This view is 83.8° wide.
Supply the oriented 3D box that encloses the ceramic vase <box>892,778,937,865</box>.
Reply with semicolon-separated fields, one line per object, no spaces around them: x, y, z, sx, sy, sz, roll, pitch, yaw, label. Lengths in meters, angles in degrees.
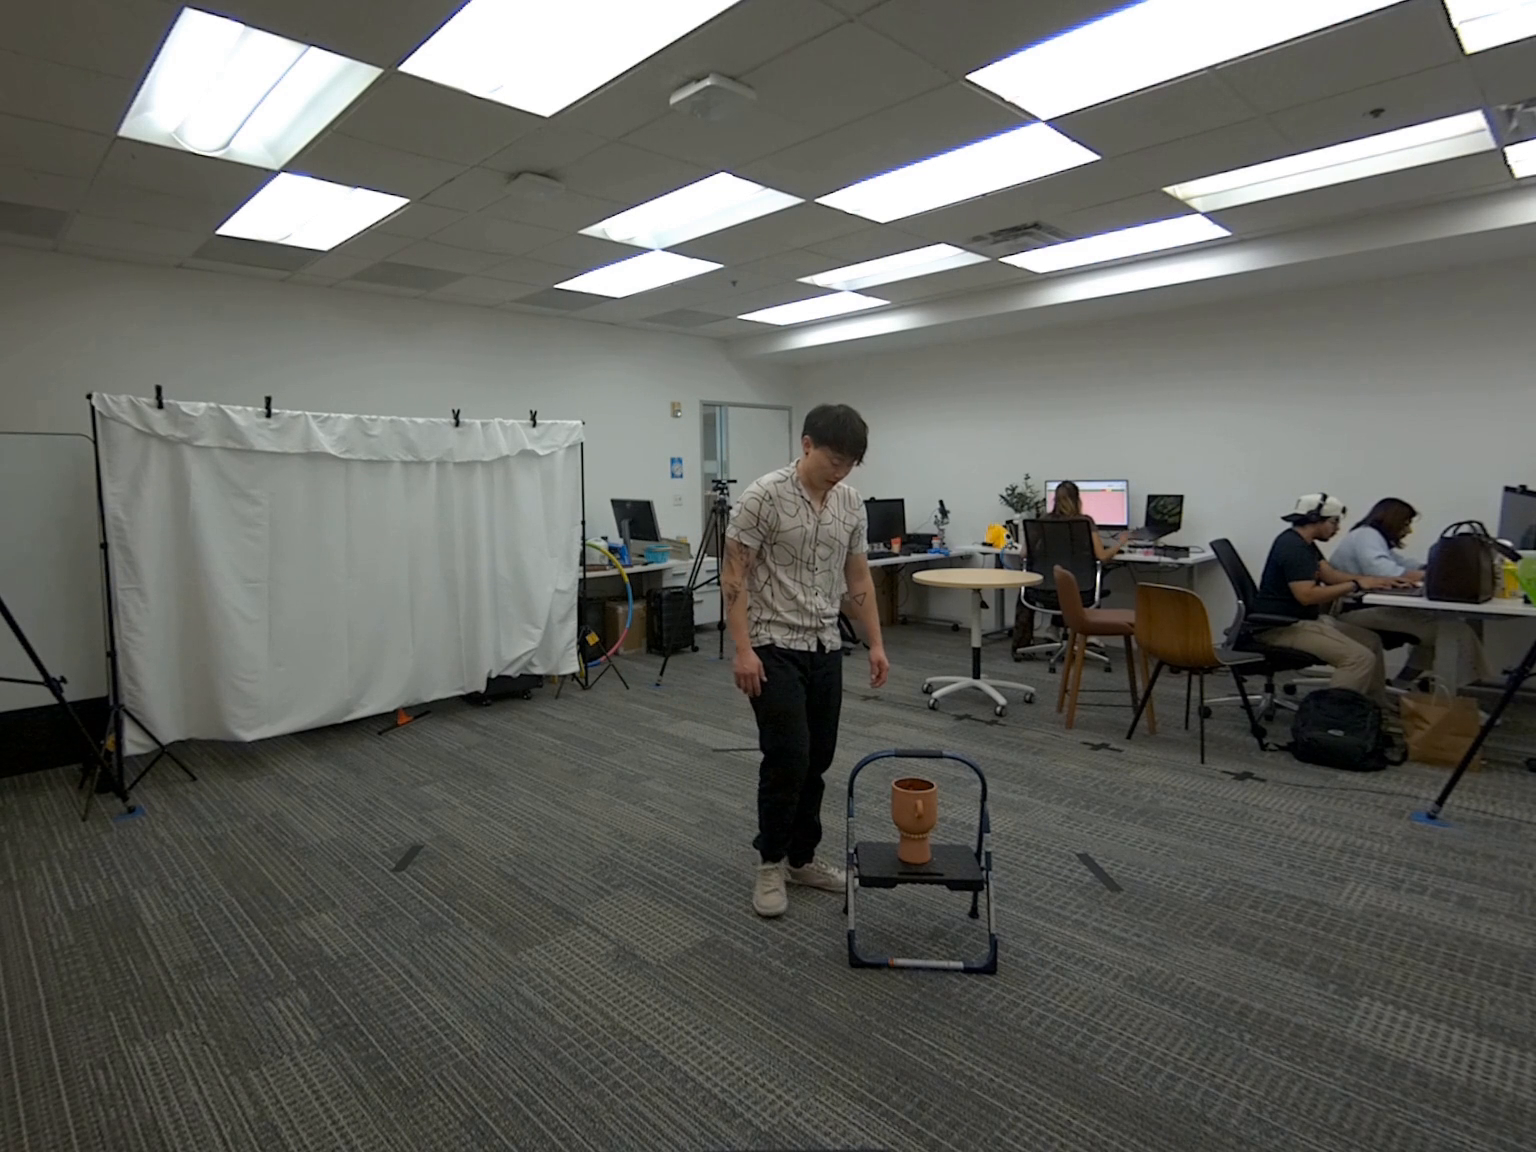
0.433;0.722;2.549;0.139;0.219;0.155;4;6;40;ceramic vase
